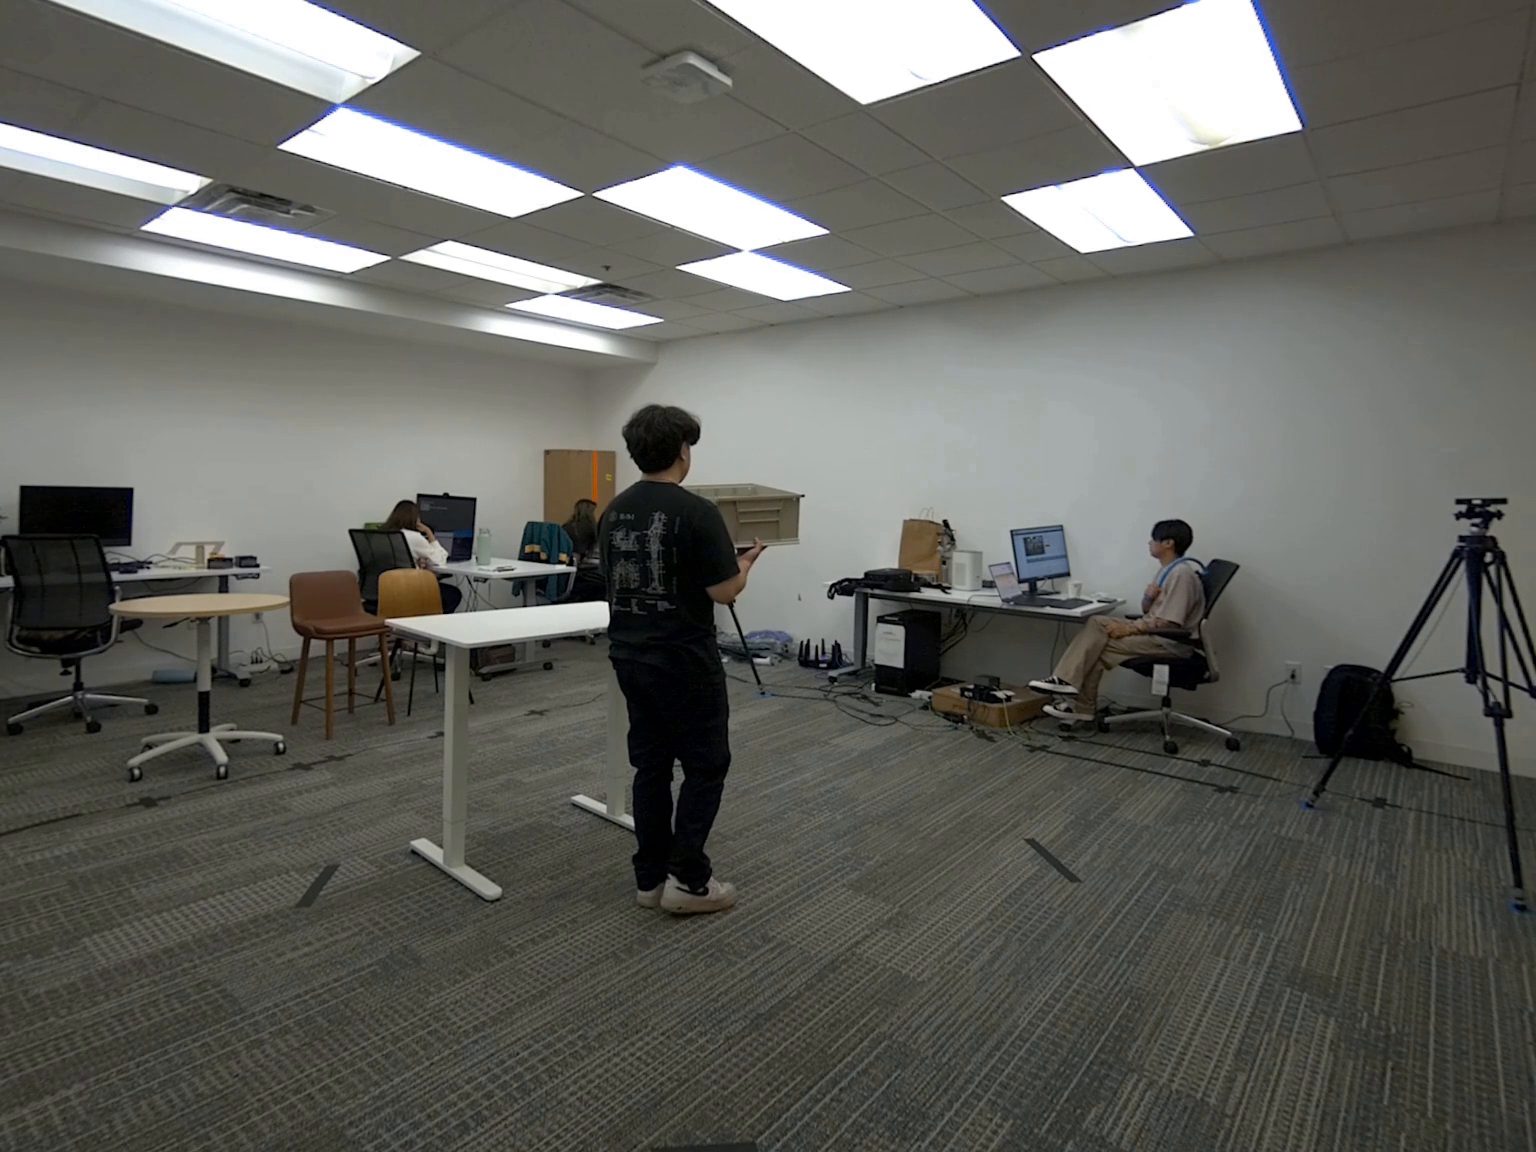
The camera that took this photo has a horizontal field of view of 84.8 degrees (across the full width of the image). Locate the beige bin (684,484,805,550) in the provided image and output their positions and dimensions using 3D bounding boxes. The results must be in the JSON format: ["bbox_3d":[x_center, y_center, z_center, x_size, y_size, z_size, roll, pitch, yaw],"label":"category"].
[{"bbox_3d":[-0.133,-0.230,3.152,0.369,0.187,0.435,-4,12,-24],"label":"beige bin"}]
